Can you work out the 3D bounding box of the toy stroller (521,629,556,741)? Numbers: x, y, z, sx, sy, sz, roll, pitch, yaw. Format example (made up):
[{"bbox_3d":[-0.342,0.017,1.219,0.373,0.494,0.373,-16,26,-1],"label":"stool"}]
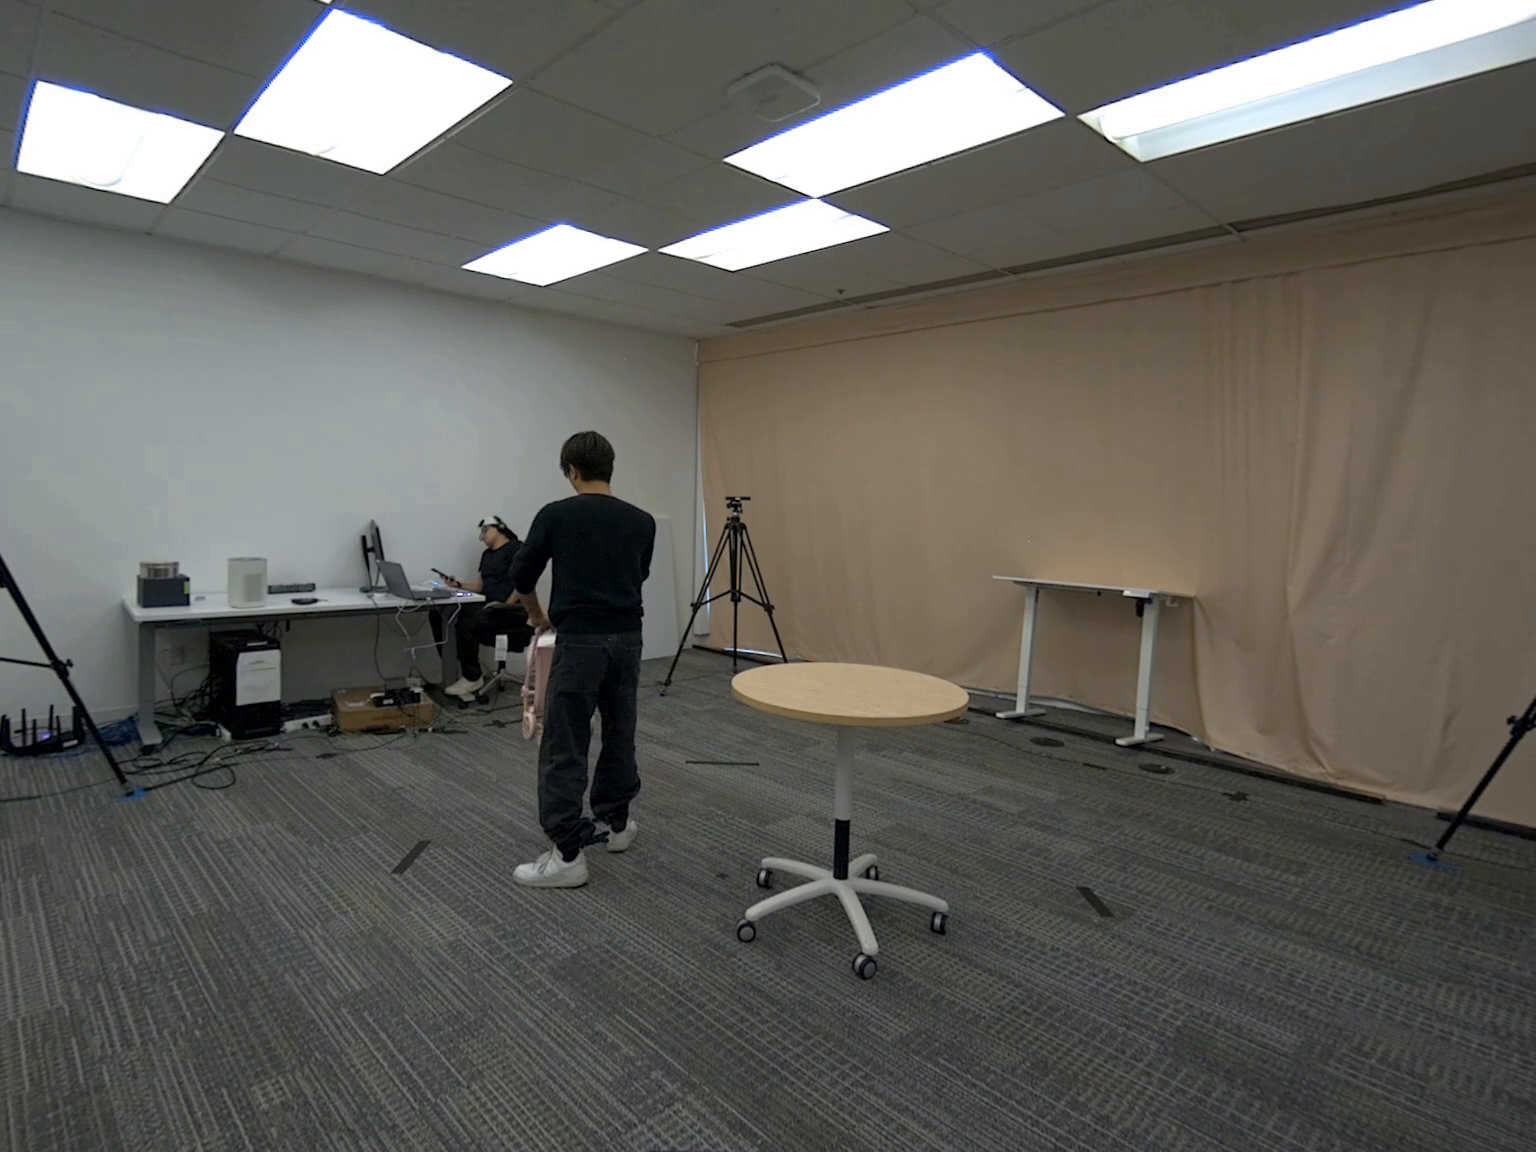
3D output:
[{"bbox_3d":[-0.915,0.477,3.551,0.276,0.540,0.345,3,-12,-26],"label":"toy stroller"}]
